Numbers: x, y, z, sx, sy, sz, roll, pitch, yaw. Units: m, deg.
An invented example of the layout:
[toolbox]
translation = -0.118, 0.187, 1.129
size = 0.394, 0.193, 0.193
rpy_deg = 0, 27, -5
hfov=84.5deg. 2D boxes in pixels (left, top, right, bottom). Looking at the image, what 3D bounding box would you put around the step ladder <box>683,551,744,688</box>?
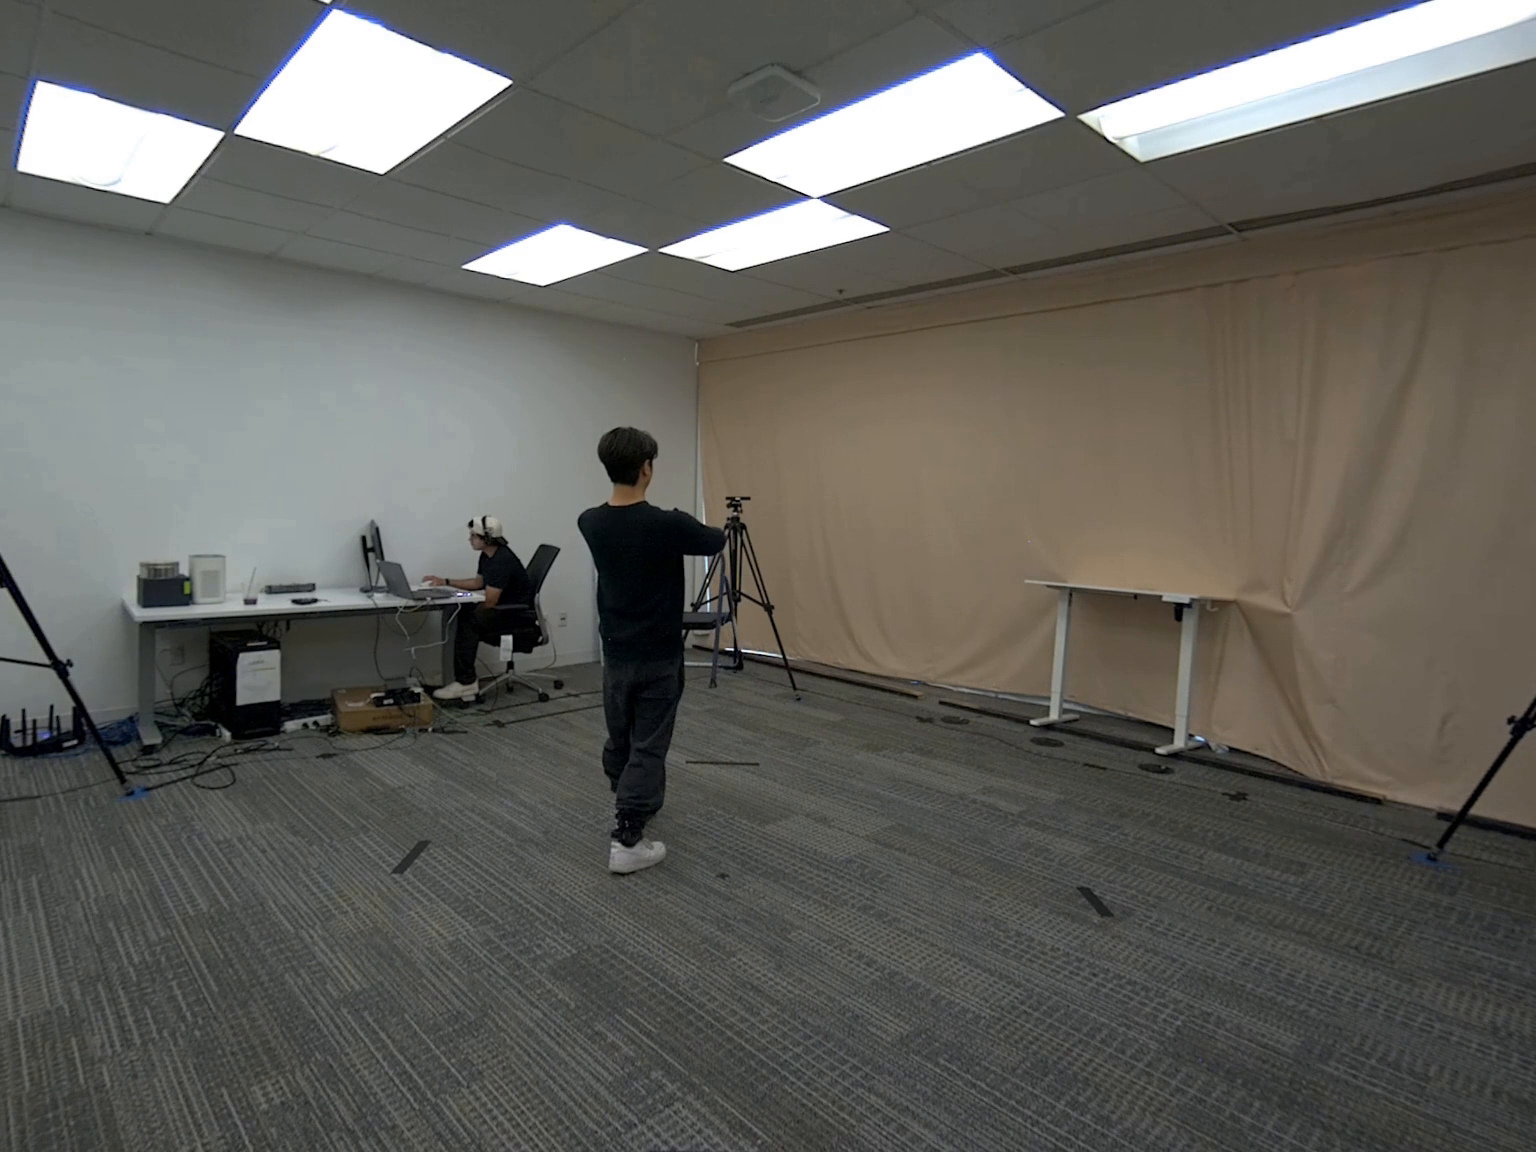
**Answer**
[step ladder]
translation = -0.380, 0.139, 3.657
size = 0.438, 0.604, 0.344
rpy_deg = 0, 5, 22
